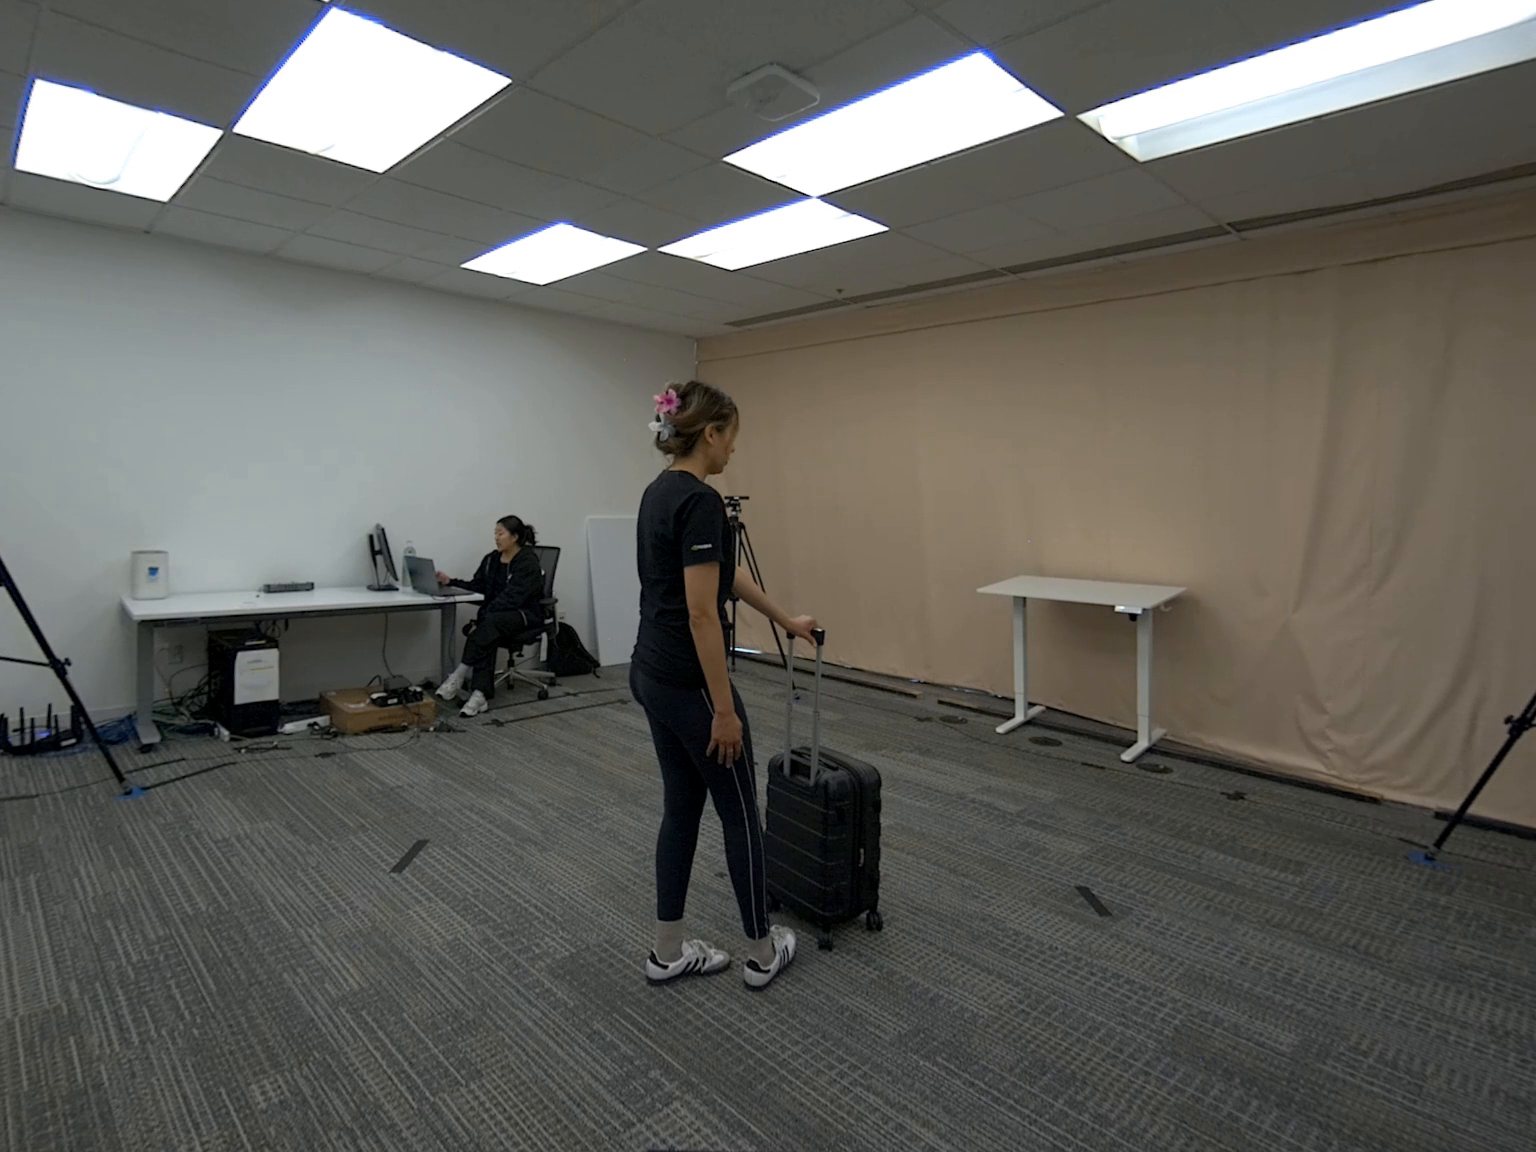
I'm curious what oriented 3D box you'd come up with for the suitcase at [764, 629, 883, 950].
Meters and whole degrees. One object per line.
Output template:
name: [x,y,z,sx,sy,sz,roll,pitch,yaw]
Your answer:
suitcase: [0.186,0.661,2.791,0.251,0.977,0.393,1,3,-34]
